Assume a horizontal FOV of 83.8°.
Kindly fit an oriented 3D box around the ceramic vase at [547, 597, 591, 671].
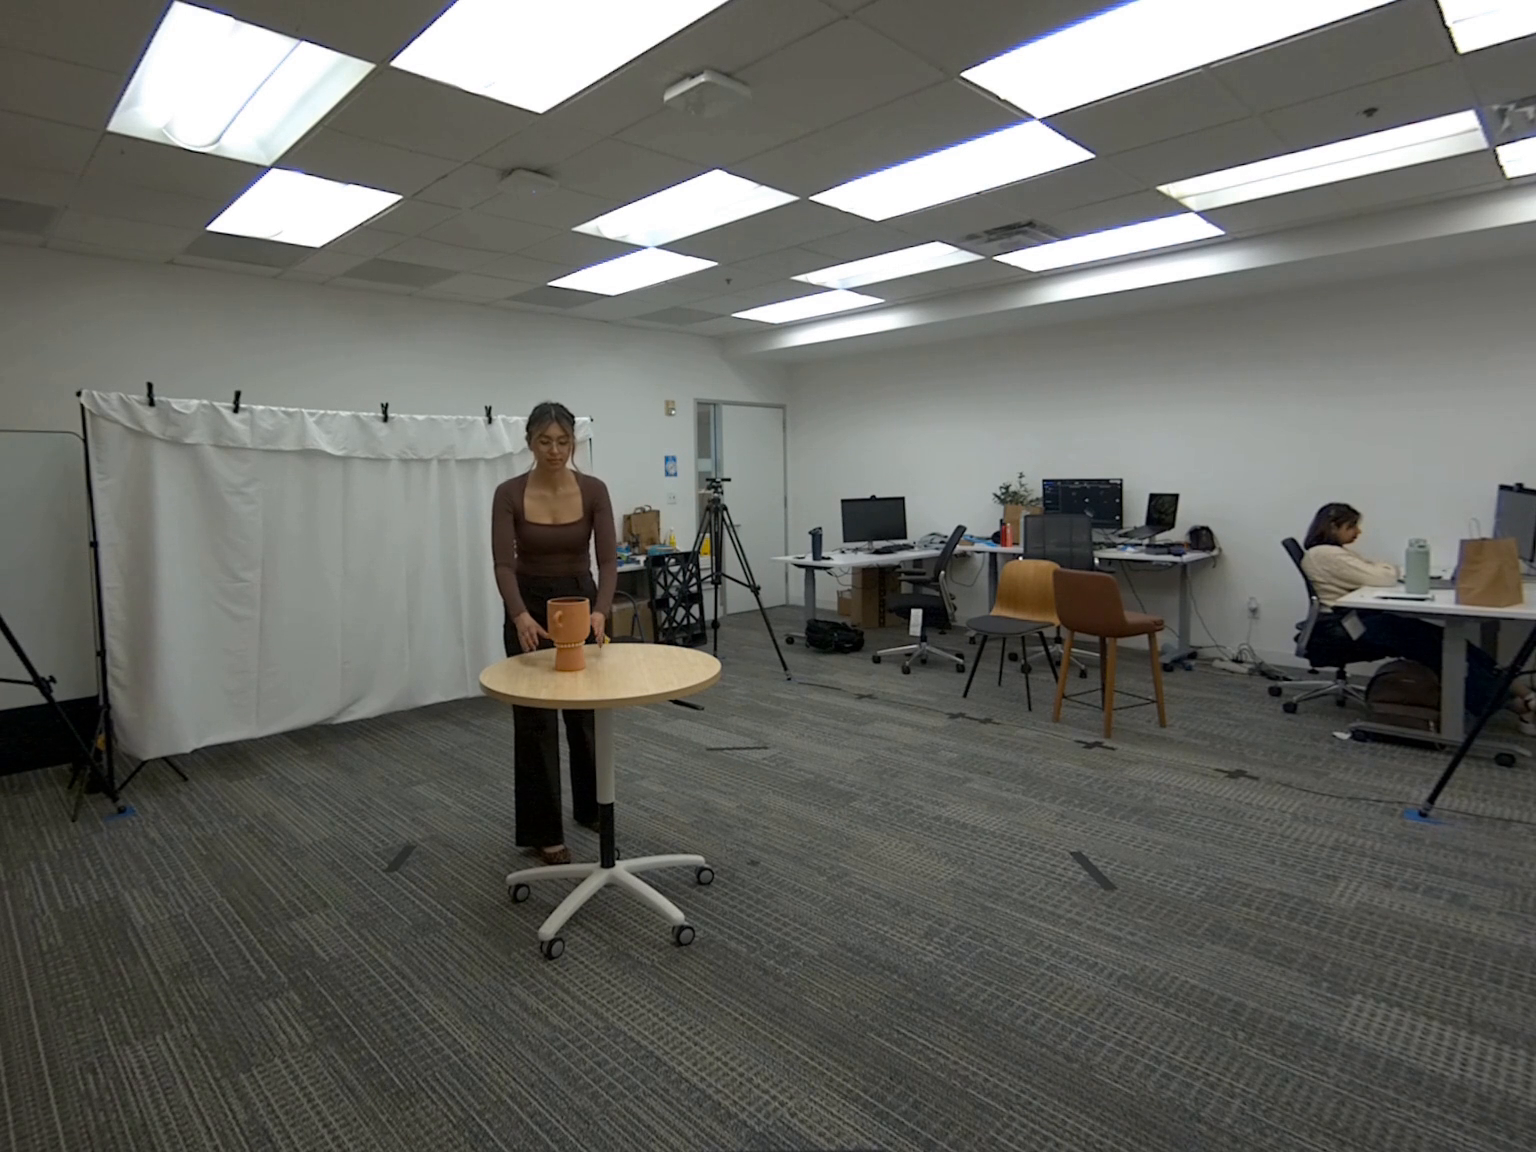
[{"bbox_3d":[-0.634,0.190,2.739,0.155,0.218,0.139,-6,8,-36],"label":"ceramic vase"}]
